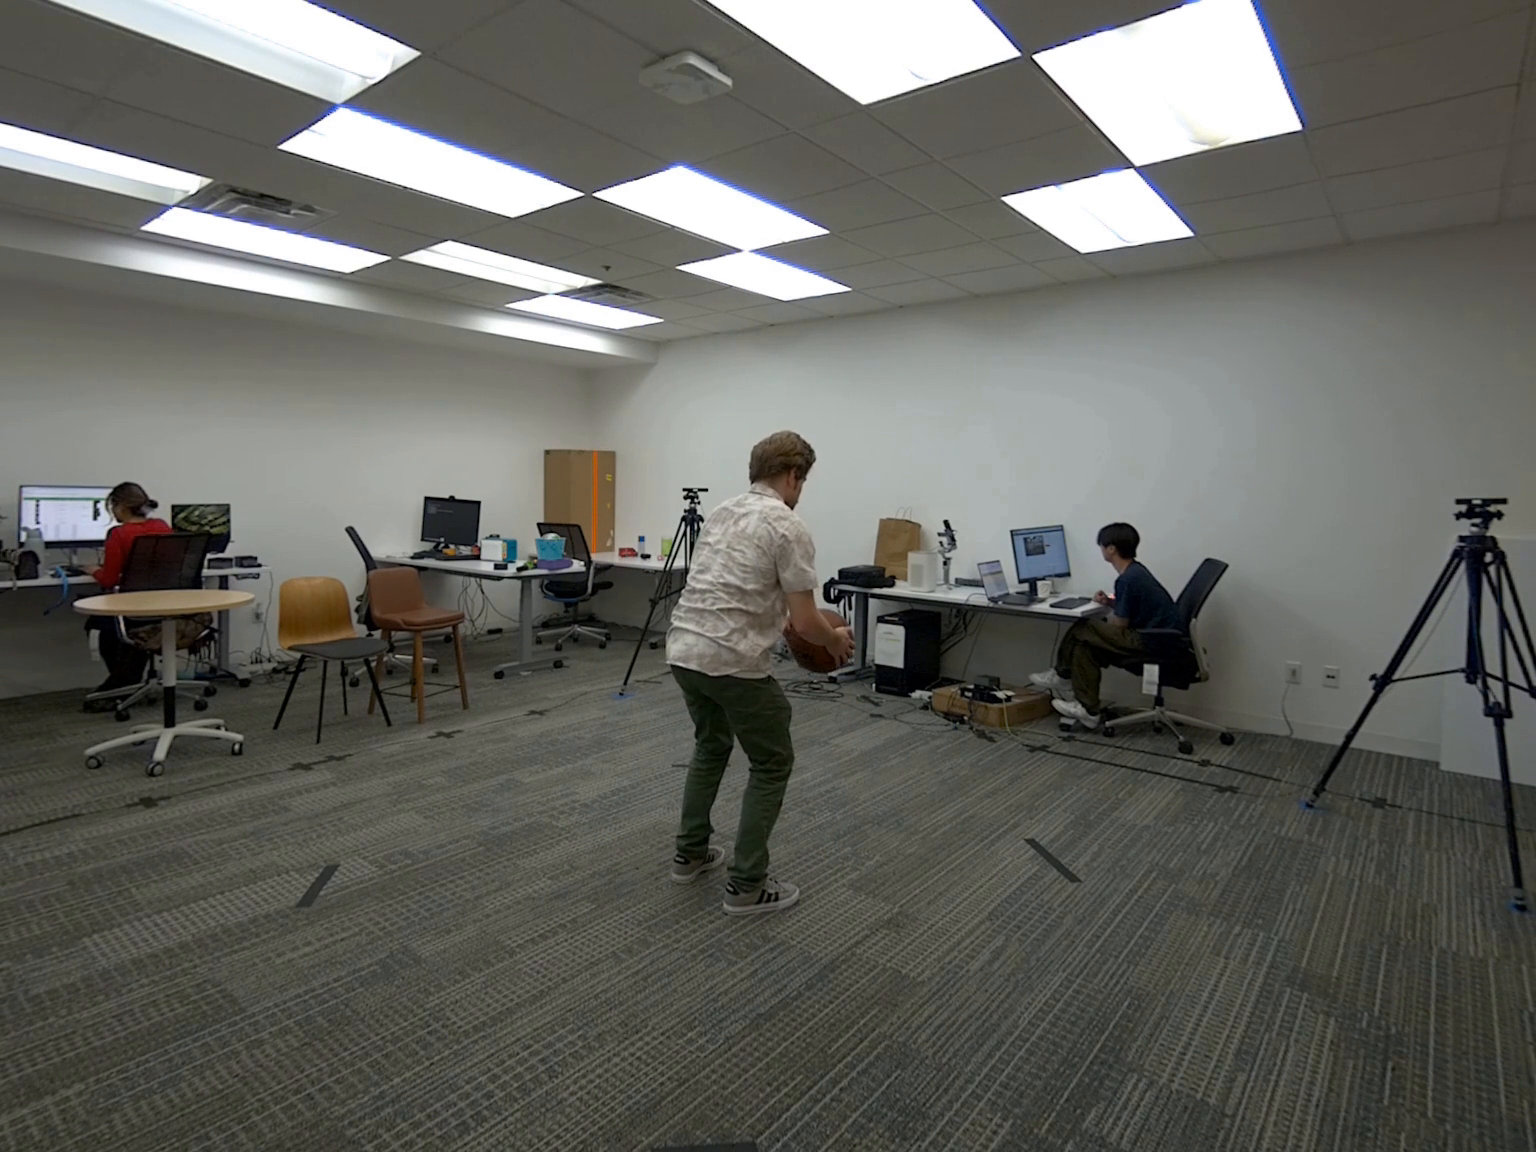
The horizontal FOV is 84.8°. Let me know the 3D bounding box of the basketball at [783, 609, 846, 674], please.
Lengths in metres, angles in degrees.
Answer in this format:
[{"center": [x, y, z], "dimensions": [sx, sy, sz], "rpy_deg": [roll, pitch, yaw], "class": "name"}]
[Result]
[{"center": [0.191, 0.240, 3.145], "dimensions": [0.235, 0.235, 0.237], "rpy_deg": [1, 4, -2], "class": "basketball"}]
